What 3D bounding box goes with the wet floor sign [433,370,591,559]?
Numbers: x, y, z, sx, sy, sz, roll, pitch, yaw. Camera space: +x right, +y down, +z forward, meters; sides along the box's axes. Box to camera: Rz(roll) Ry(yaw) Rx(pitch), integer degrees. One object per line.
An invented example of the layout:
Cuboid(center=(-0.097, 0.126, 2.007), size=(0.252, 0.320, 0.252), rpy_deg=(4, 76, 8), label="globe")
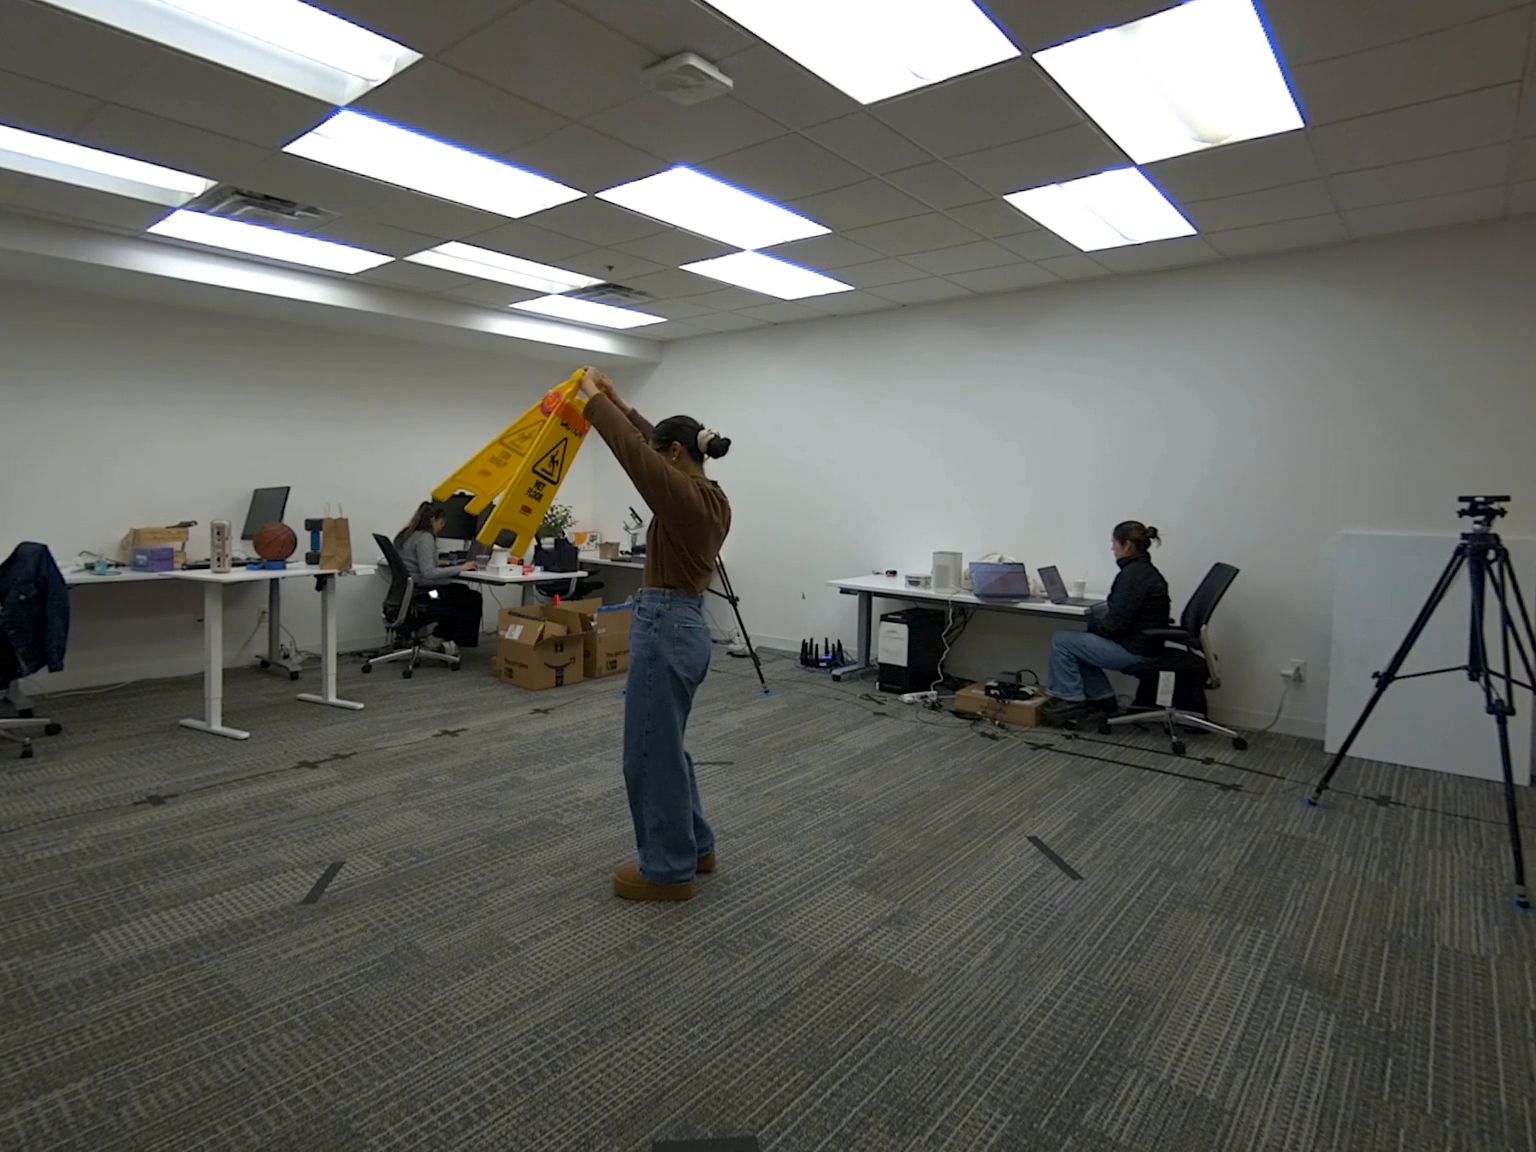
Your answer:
Cuboid(center=(-0.811, -0.420, 2.907), size=(0.298, 0.646, 0.275), rpy_deg=(38, -1, 19), label="wet floor sign")
